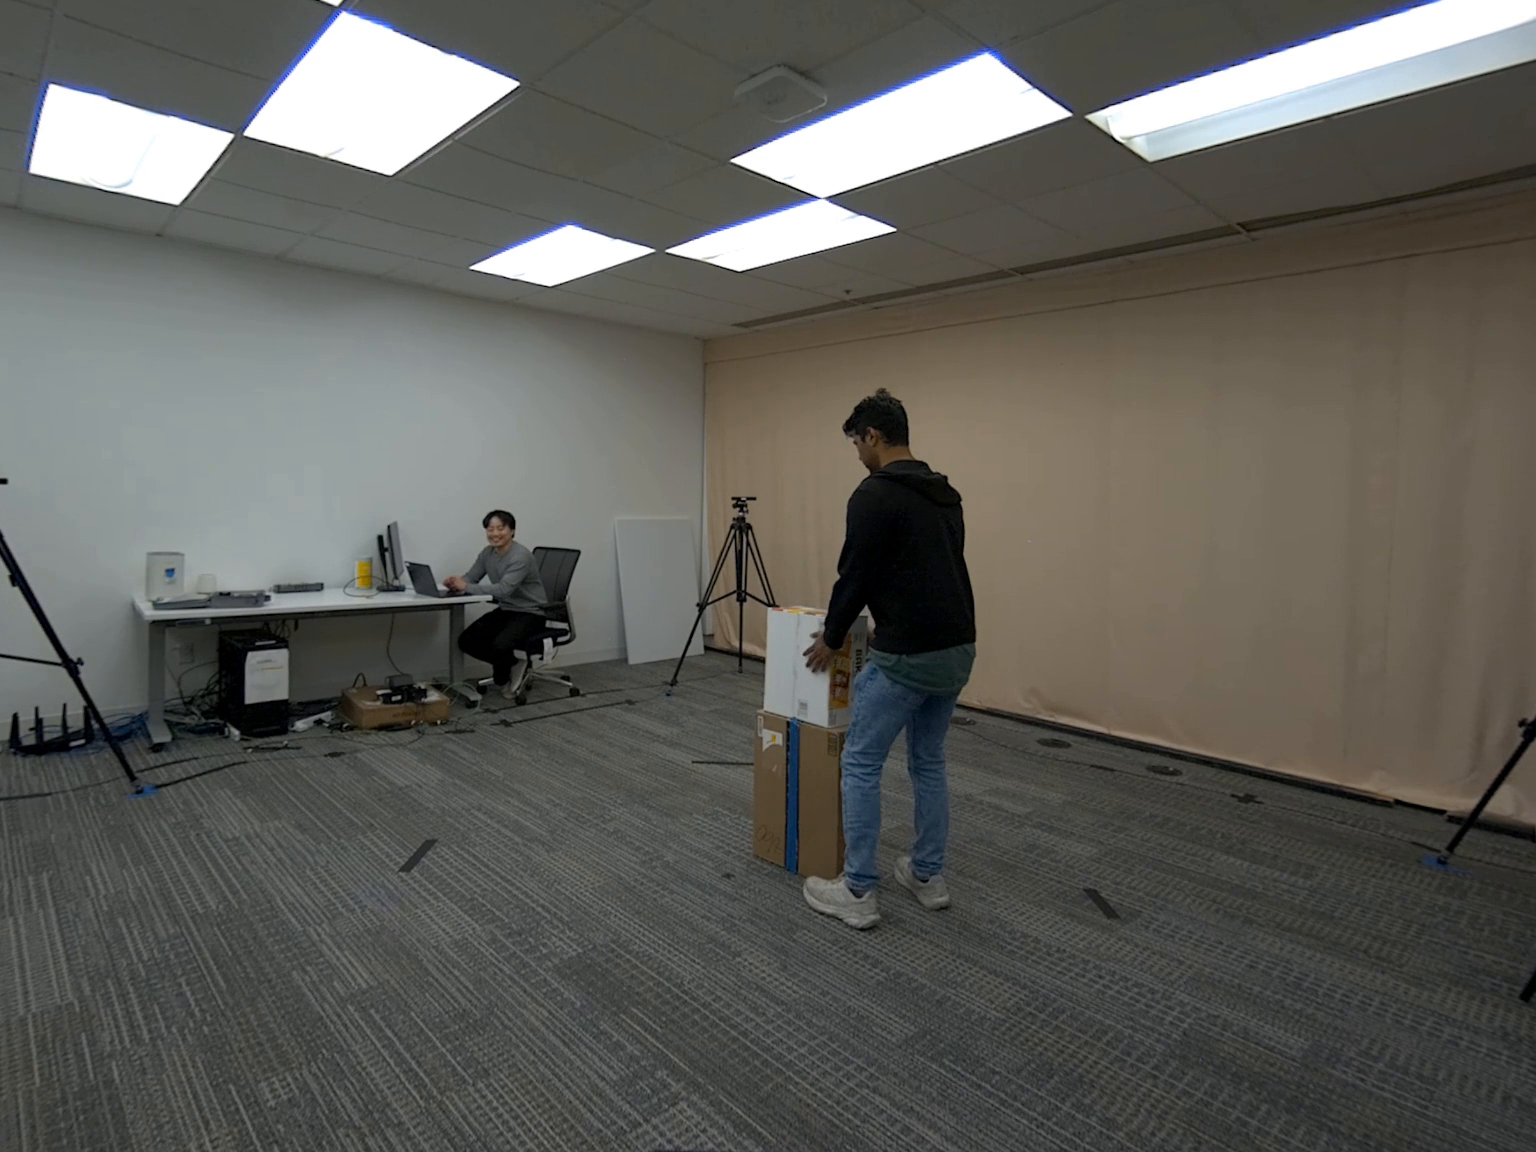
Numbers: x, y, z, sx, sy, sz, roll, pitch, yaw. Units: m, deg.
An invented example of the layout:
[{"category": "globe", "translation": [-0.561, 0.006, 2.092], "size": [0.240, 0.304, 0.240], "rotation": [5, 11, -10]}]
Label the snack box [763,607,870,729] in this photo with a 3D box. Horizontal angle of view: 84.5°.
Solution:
[{"category": "snack box", "translation": [0.171, 0.335, 3.217], "size": [0.201, 0.404, 0.349], "rotation": [1, 3, -43]}]
